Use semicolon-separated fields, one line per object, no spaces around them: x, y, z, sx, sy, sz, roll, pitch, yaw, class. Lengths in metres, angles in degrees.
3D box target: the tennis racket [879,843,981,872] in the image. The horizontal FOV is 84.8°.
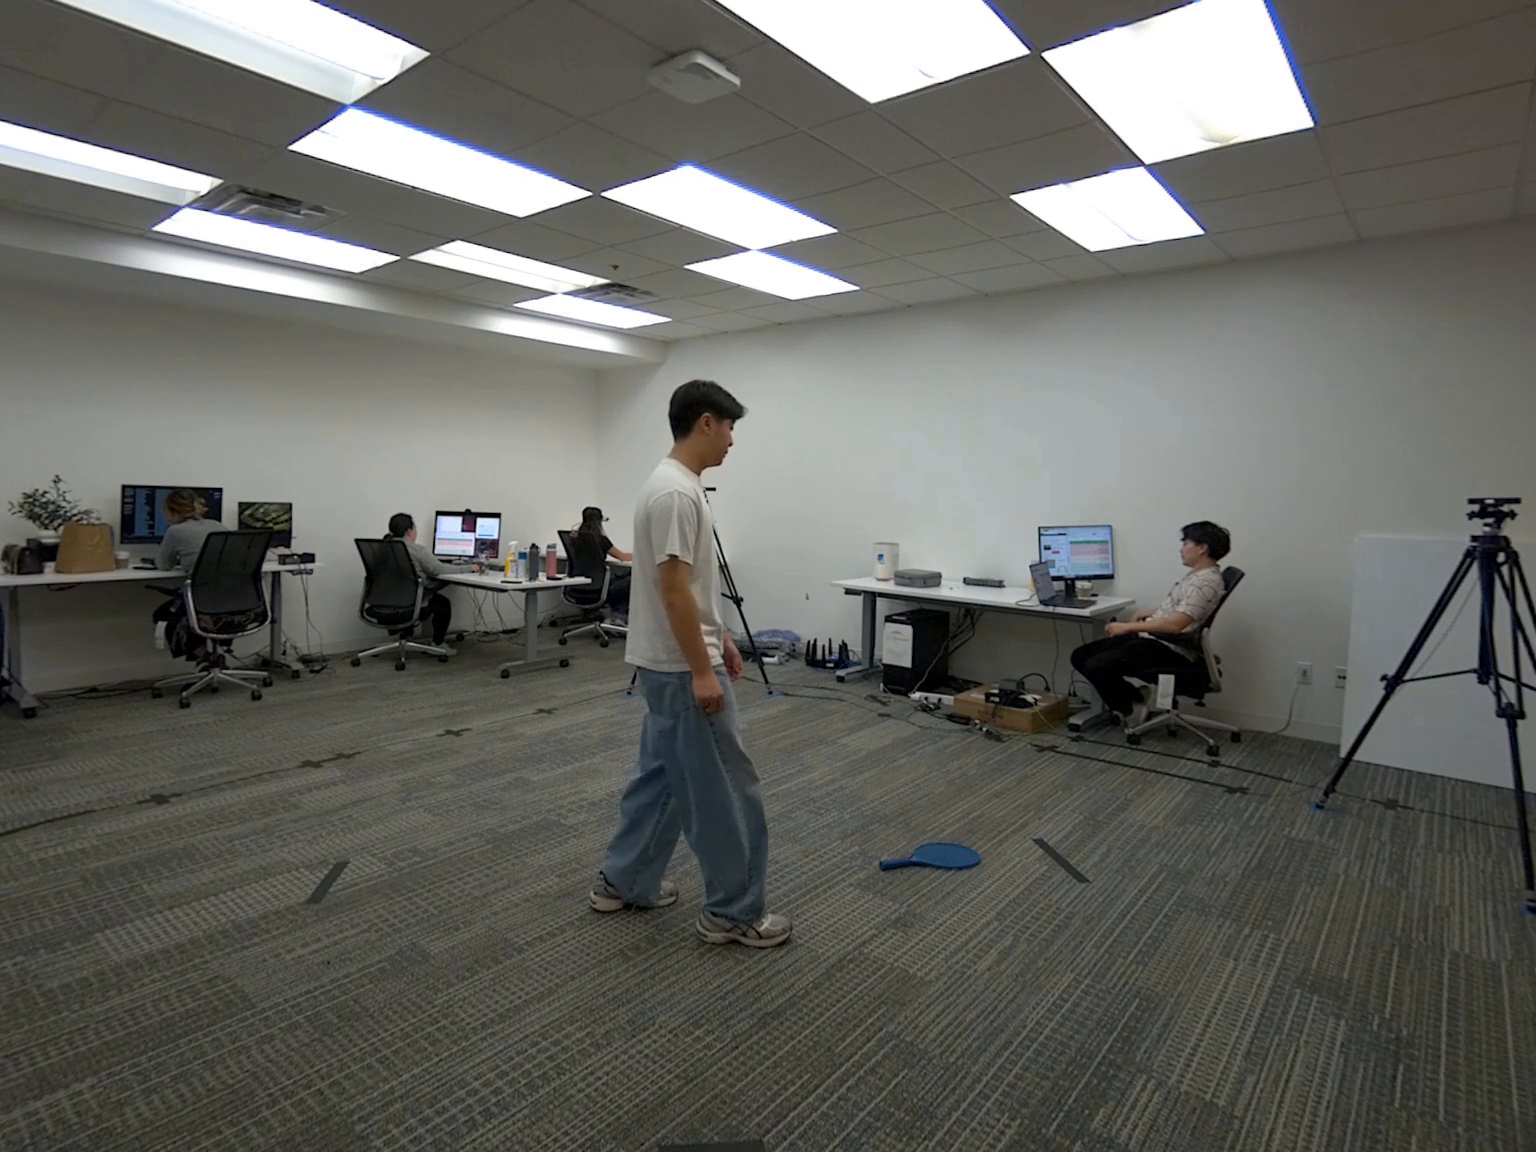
0.602;1.058;3.221;0.423;0.031;0.219;1;5;-23;tennis racket
